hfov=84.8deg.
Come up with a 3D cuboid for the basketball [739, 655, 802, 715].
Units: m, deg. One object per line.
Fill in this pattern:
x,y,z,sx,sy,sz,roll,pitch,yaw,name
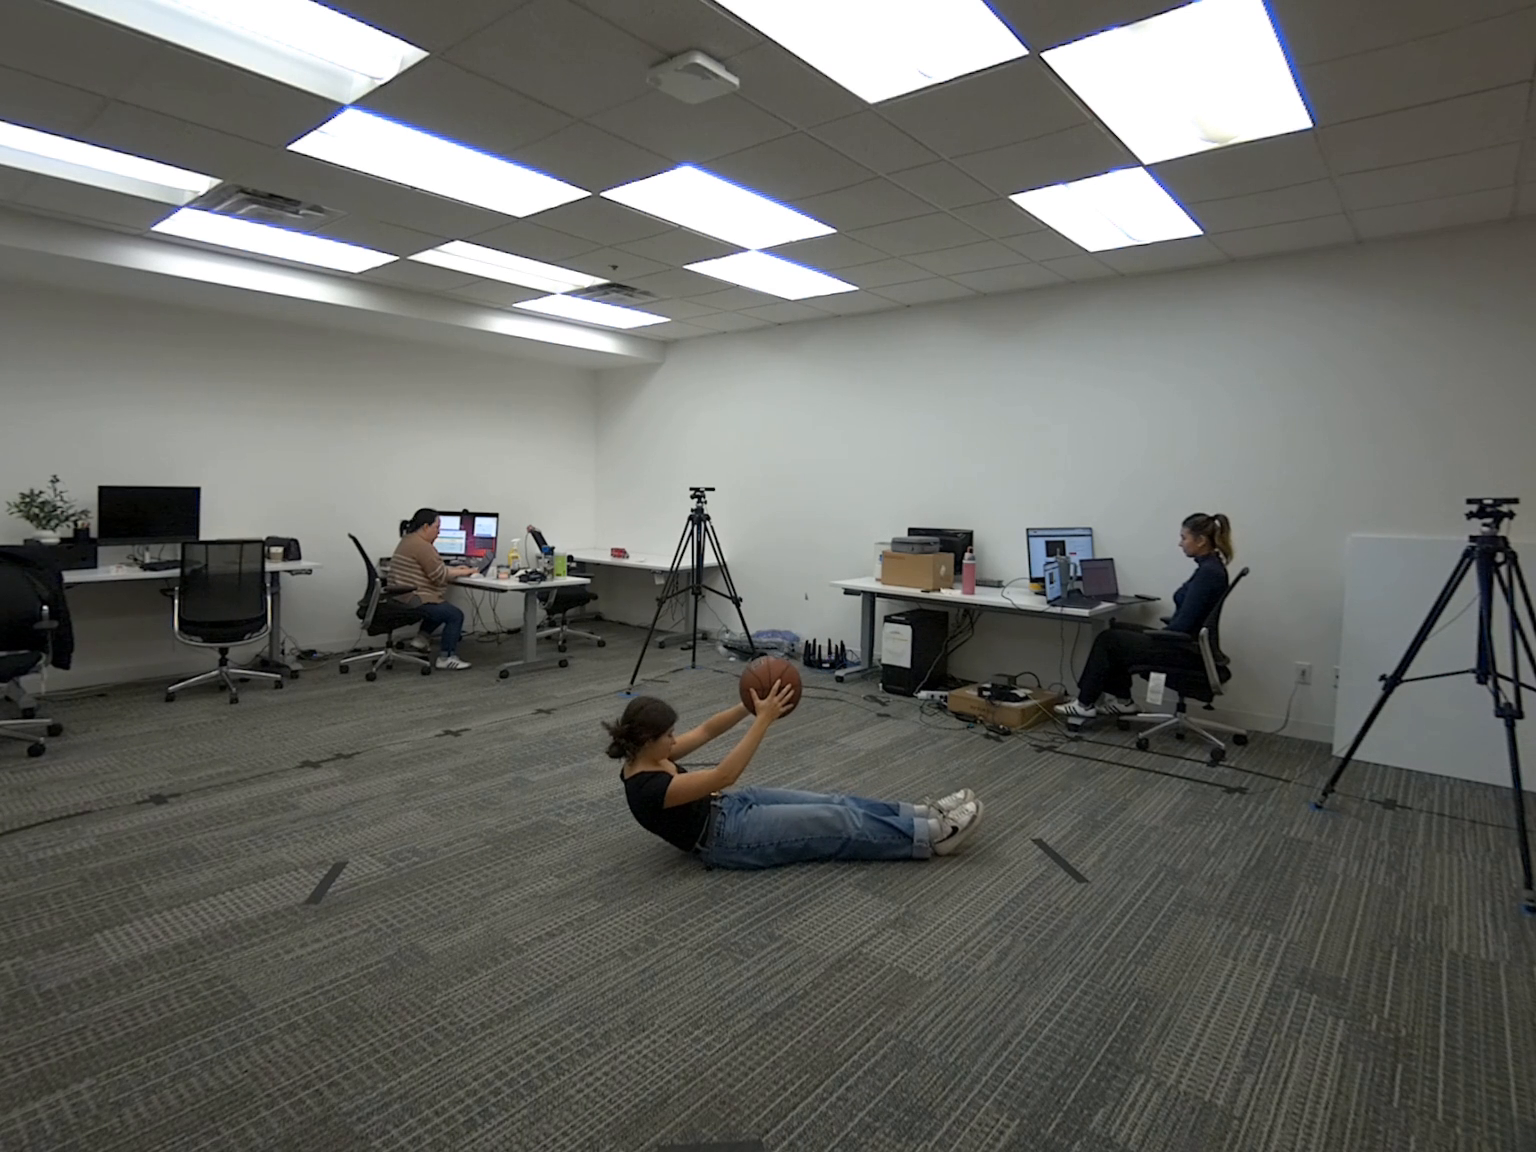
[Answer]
-0.003,0.415,3.210,0.235,0.235,0.237,1,4,-2,basketball
